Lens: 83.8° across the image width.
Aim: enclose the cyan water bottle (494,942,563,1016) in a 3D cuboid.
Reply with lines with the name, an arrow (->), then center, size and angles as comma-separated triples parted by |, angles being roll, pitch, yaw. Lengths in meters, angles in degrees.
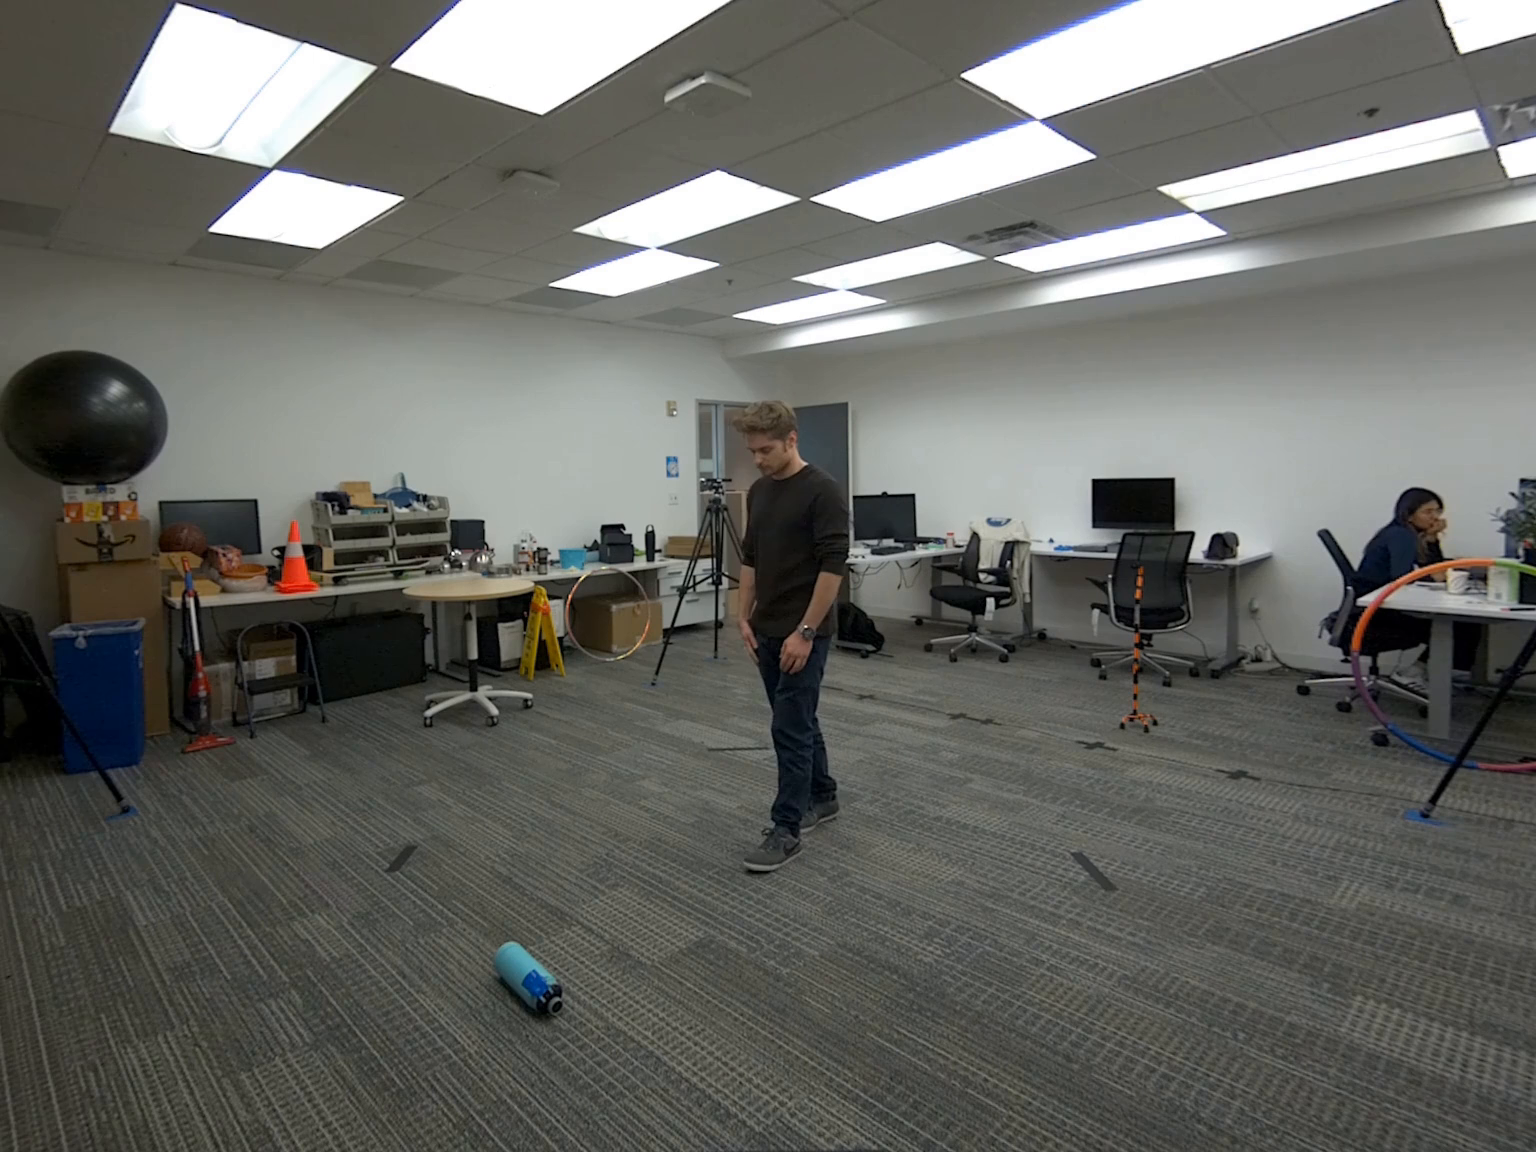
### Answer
cyan water bottle -> -0.648, 1.101, 2.333 | 0.090, 0.092, 0.292 | -5, 7, -39
